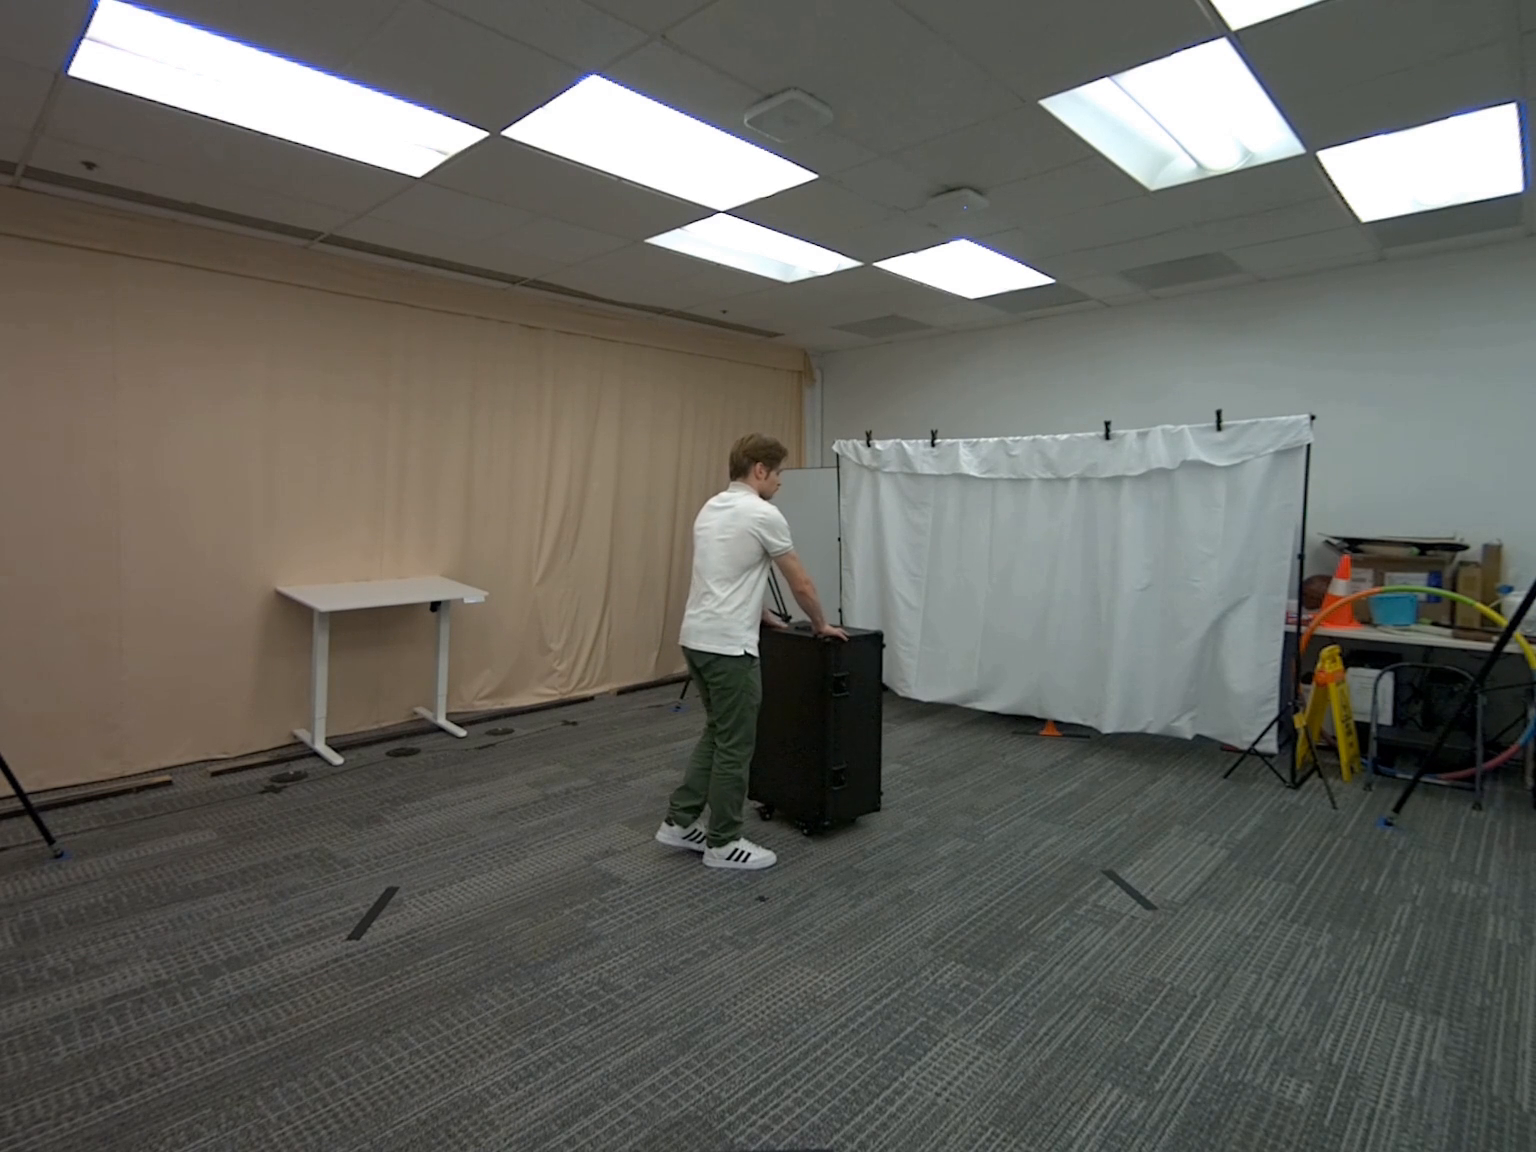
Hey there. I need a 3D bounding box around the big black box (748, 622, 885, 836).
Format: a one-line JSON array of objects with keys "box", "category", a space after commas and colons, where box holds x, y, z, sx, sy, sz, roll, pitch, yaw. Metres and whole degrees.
[{"box": [0.204, 0.661, 3.729, 0.373, 0.867, 0.541, -1, 4, -41], "category": "big black box"}]
